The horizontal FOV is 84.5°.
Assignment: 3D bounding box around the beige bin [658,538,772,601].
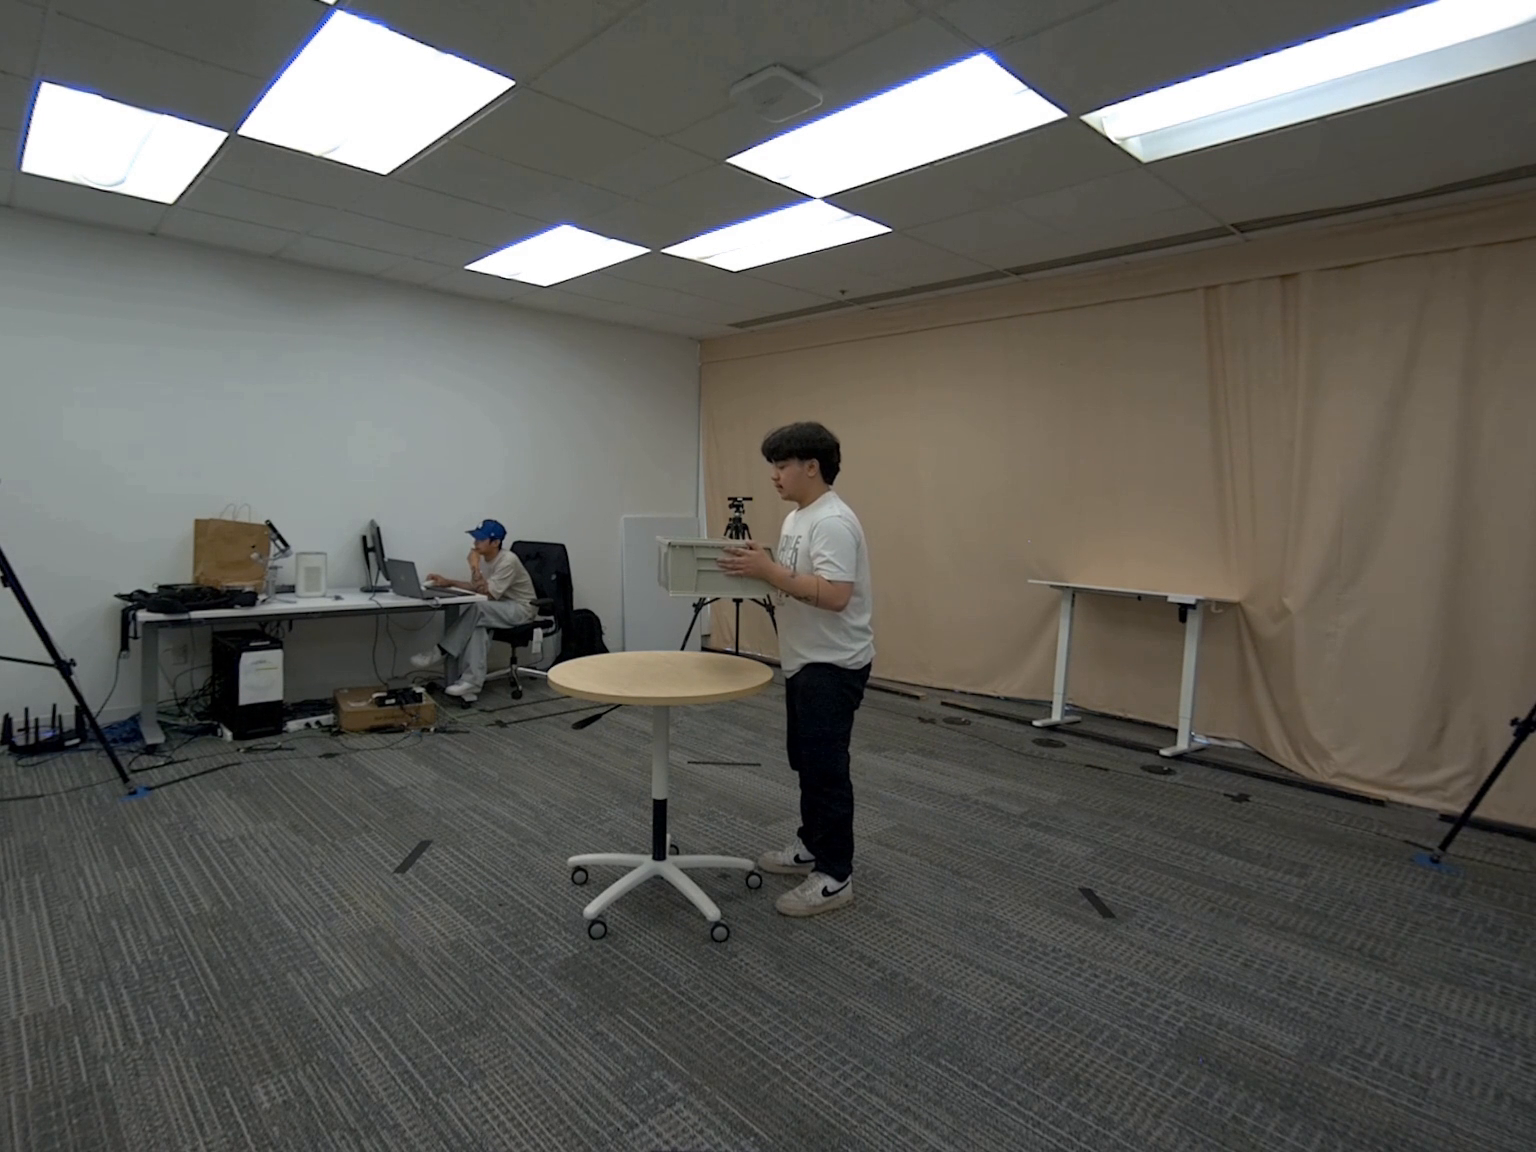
[{"bbox_3d":[-0.198,-0.023,2.922,0.374,0.188,0.427,0,6,-12],"label":"beige bin"}]
